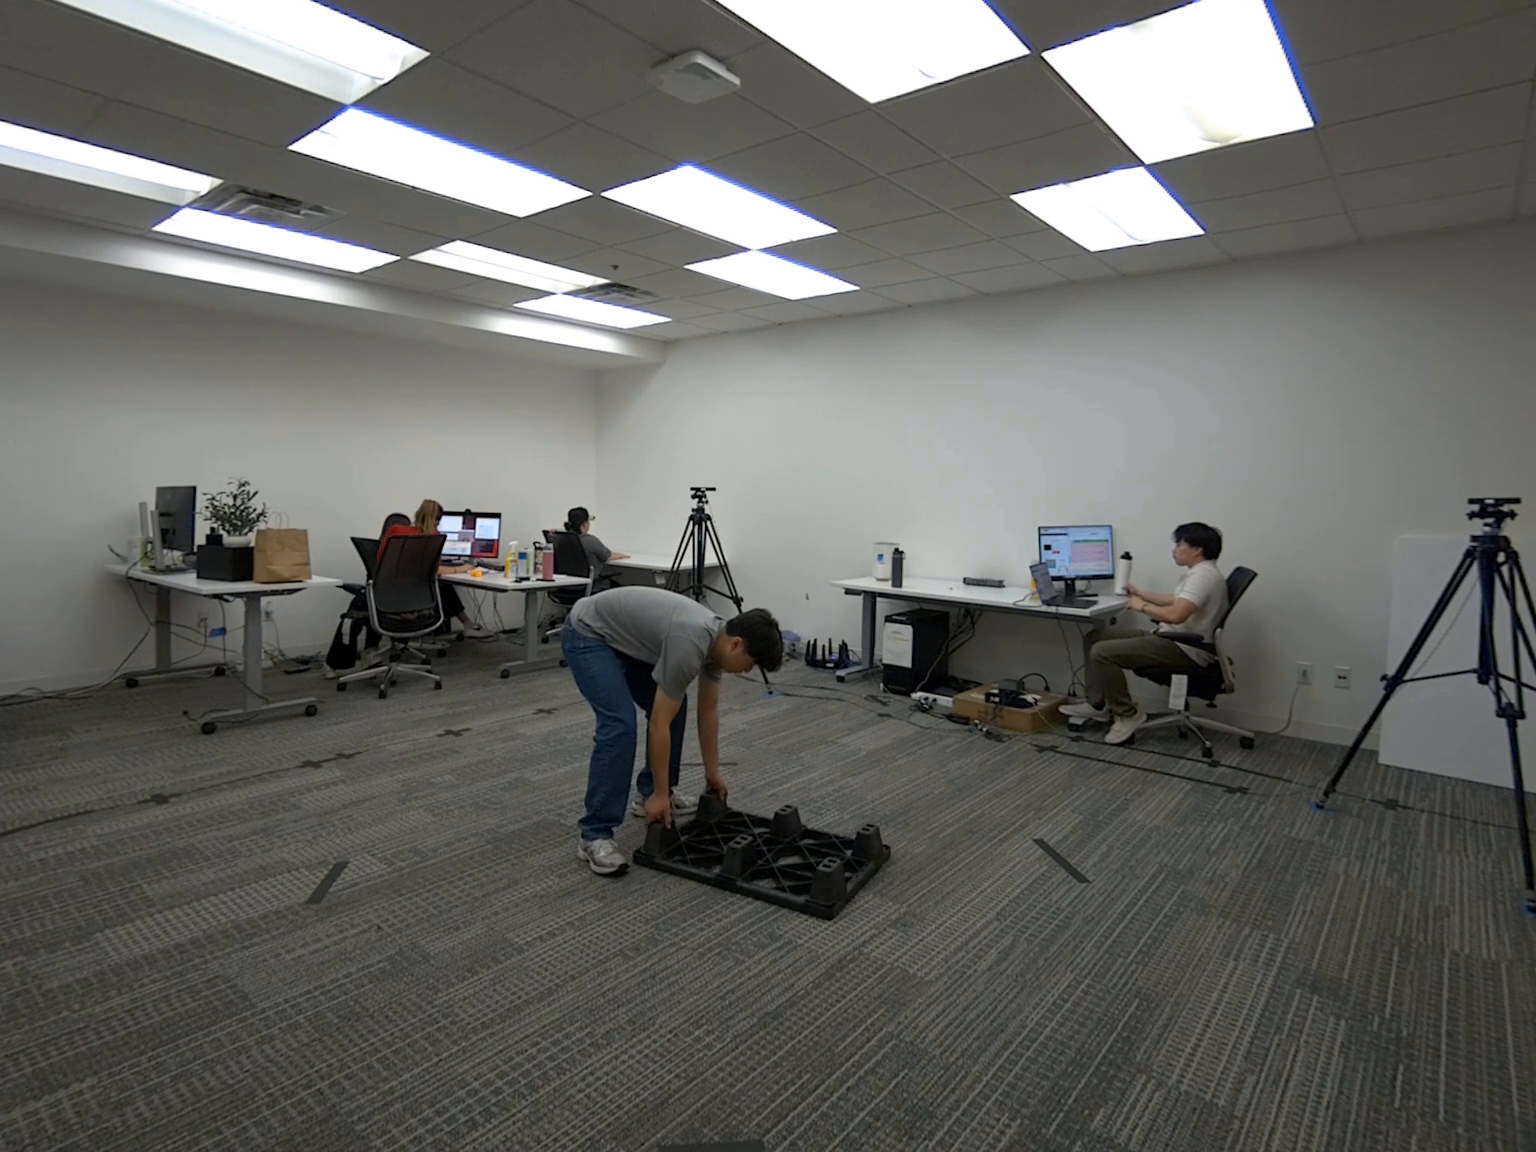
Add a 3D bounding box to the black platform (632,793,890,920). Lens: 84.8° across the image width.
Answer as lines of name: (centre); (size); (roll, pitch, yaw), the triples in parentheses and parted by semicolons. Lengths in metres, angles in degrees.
black platform: (-0.022, 0.996, 3.189); (0.829, 0.143, 0.590); (4, 5, 29)
